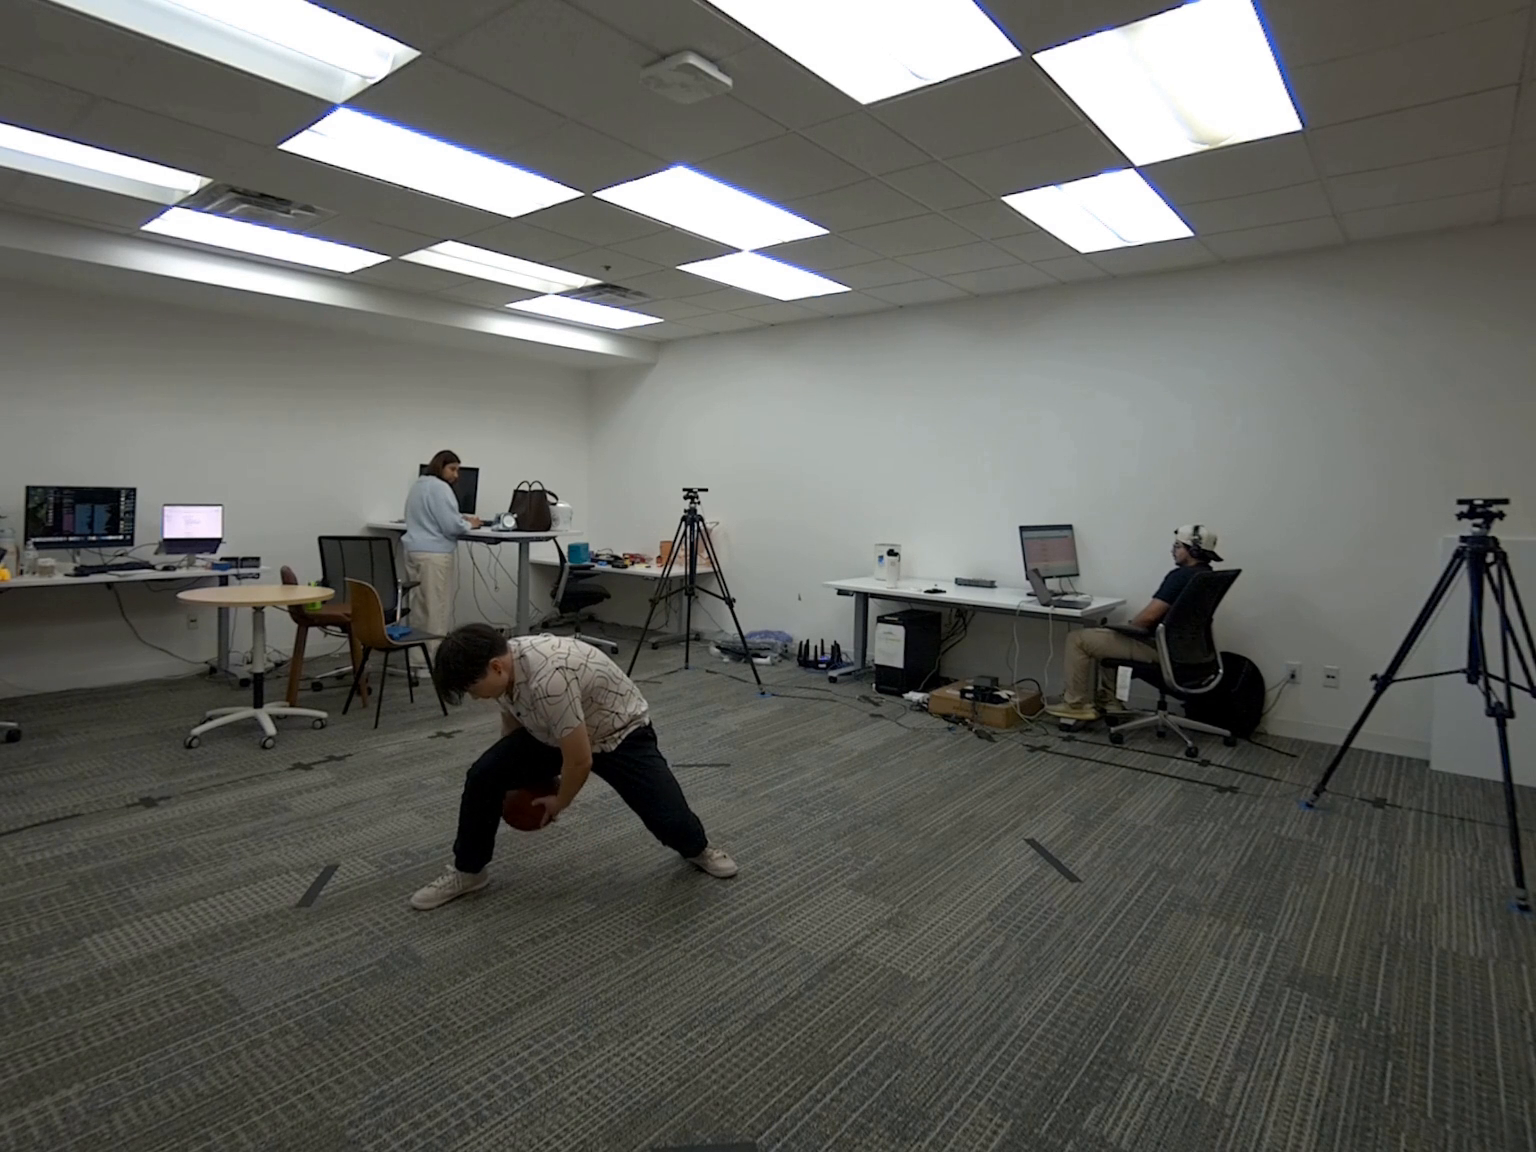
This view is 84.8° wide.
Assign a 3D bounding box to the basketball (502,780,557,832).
[{"bbox_3d":[-0.878,0.782,3.065,0.235,0.235,0.237,1,4,-2],"label":"basketball"}]
